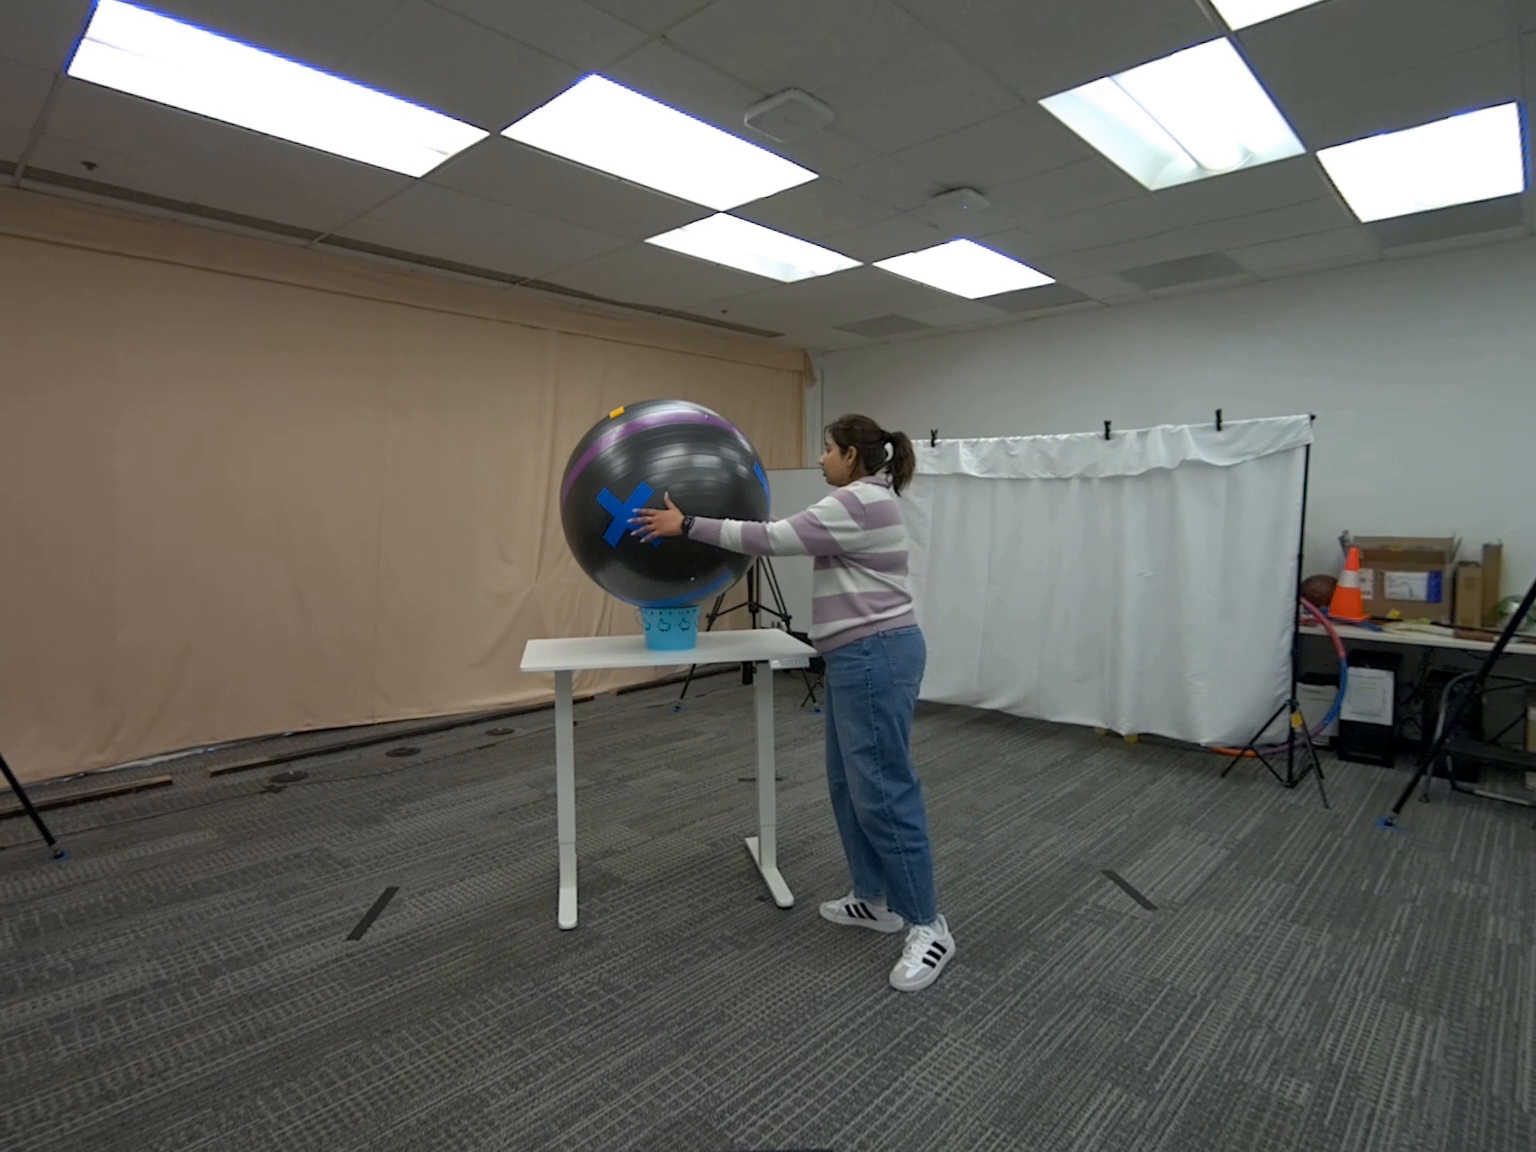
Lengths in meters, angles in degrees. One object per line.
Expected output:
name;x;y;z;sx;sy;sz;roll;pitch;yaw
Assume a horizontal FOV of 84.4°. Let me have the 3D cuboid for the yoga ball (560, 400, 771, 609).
yoga ball;-0.375;-0.256;3.051;0.757;0.756;0.760;0;4;-2
